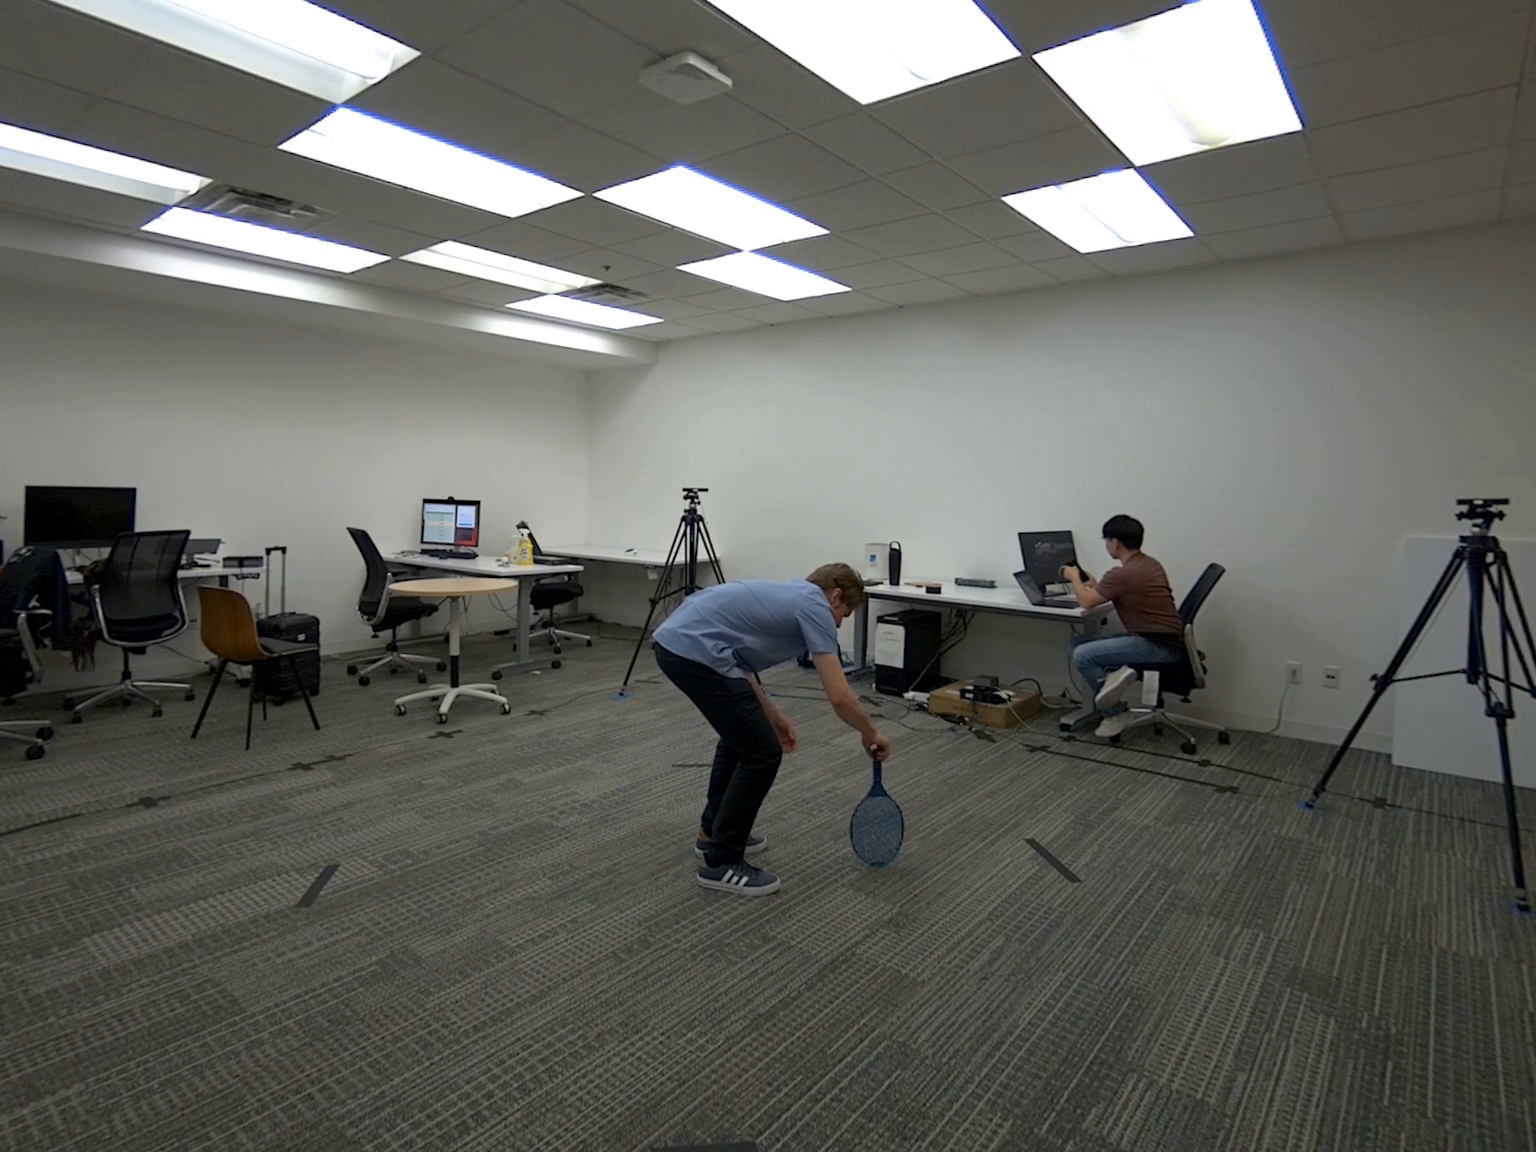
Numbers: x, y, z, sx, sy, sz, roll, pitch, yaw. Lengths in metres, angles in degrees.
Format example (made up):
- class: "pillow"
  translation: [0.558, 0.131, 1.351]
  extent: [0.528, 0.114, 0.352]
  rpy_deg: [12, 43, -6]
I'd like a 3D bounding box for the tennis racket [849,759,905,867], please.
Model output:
- class: "tennis racket"
  translation: [0.406, 0.863, 3.180]
  extent: [0.212, 0.433, 0.032]
  rpy_deg: [3, -1, -5]
